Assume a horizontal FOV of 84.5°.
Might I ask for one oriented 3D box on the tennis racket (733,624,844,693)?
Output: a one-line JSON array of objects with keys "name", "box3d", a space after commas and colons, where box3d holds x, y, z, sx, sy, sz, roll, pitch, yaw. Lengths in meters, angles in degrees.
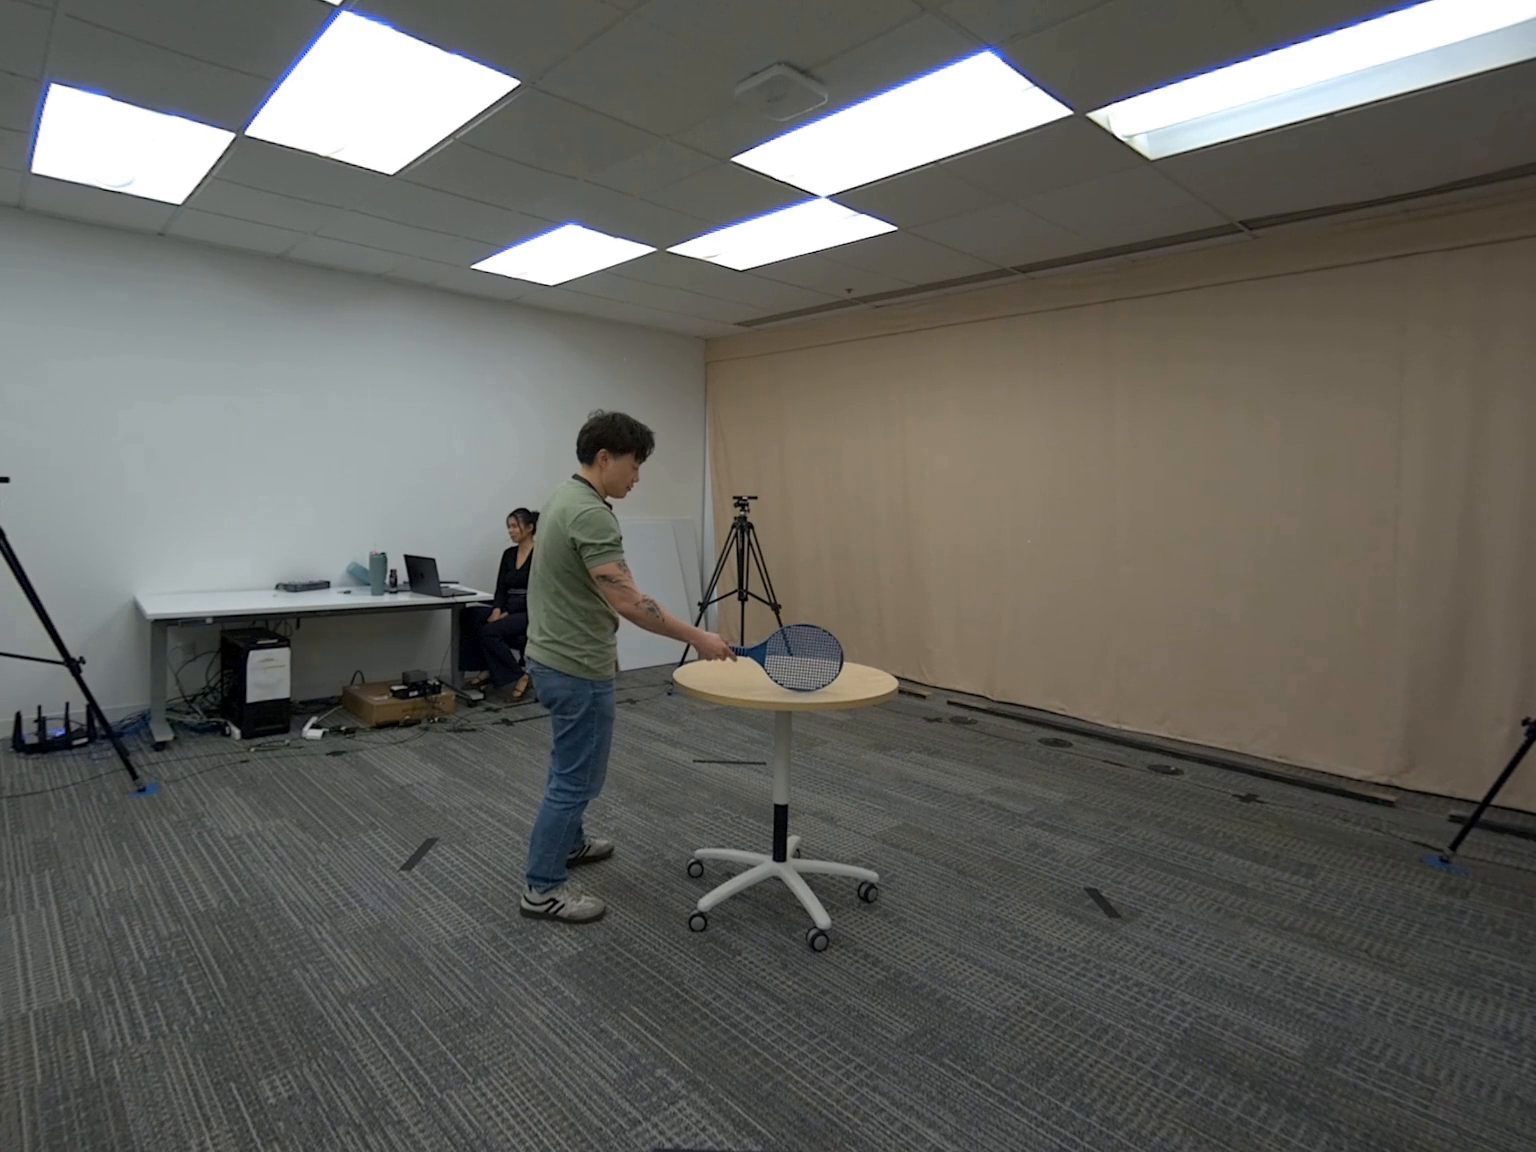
[{"name": "tennis racket", "box3d": [0.019, 0.254, 2.625, 0.428, 0.213, 0.032, 9, 5, -11]}]
